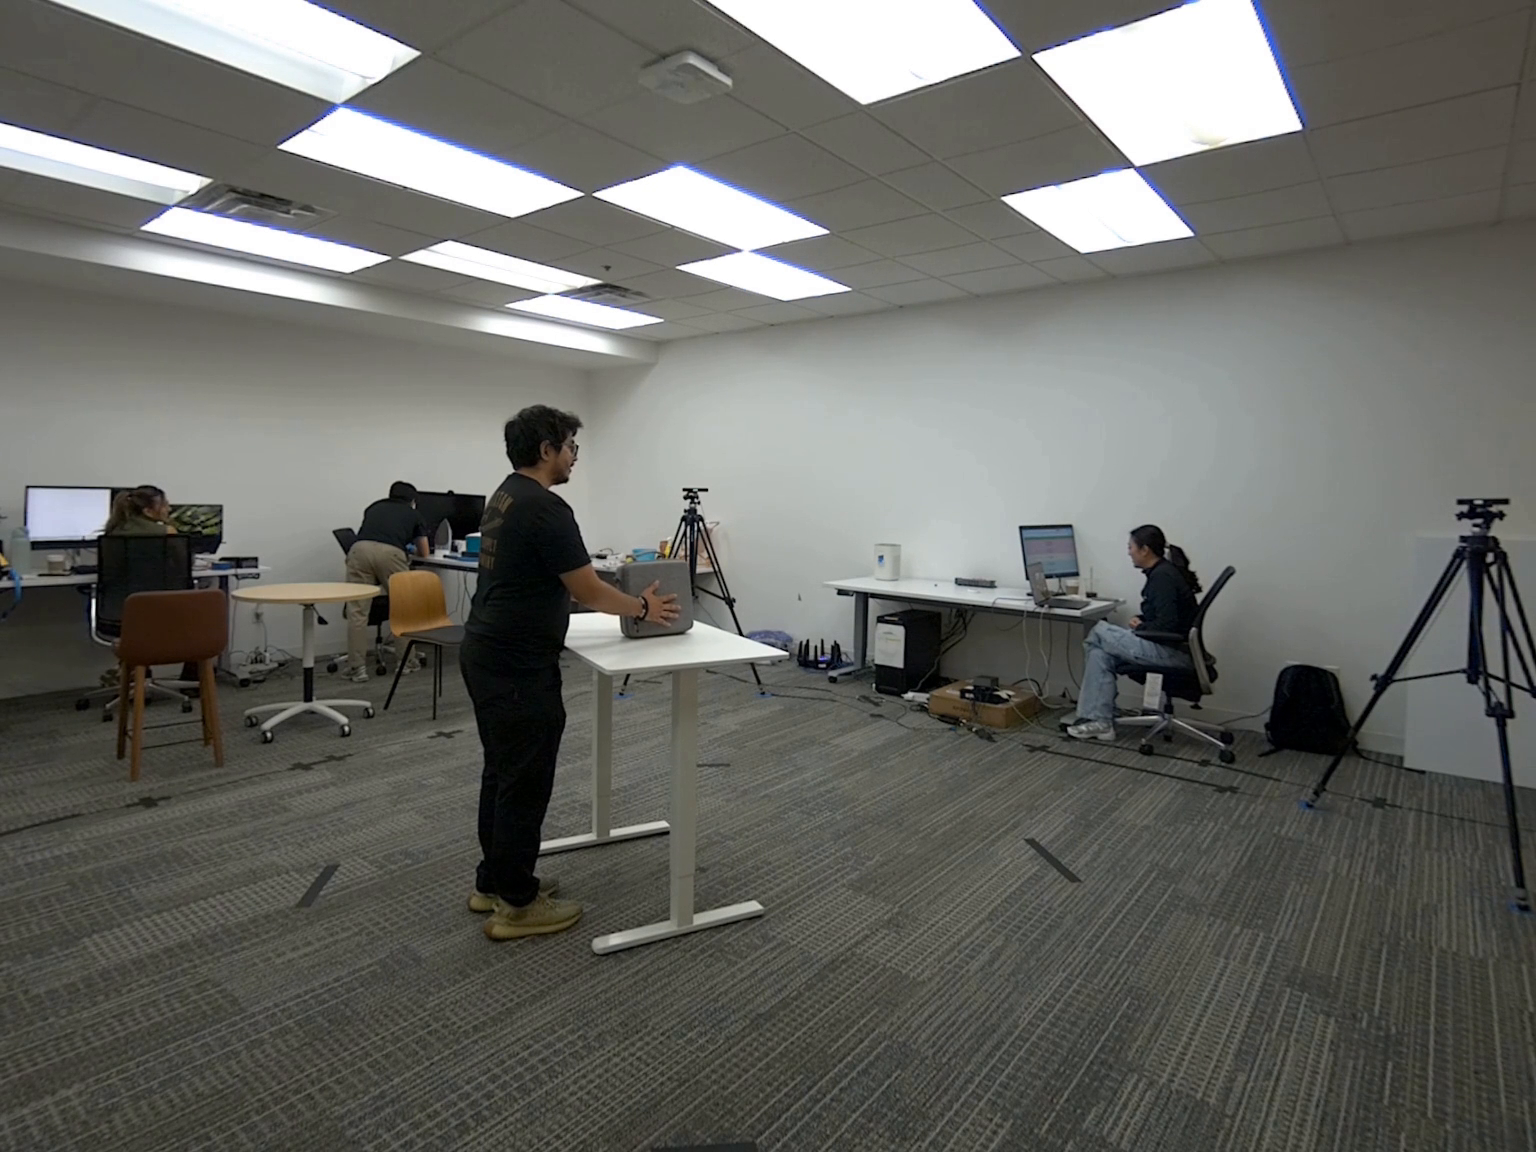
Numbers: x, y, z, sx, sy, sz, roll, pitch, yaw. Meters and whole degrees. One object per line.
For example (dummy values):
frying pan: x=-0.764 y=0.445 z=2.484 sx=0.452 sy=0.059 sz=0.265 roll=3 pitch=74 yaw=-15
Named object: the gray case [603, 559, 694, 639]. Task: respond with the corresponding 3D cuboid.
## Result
gray case: x=-0.399 y=0.071 z=2.934 sx=0.250 sy=0.261 sz=0.107 roll=-4 pitch=-2 yaw=-30
